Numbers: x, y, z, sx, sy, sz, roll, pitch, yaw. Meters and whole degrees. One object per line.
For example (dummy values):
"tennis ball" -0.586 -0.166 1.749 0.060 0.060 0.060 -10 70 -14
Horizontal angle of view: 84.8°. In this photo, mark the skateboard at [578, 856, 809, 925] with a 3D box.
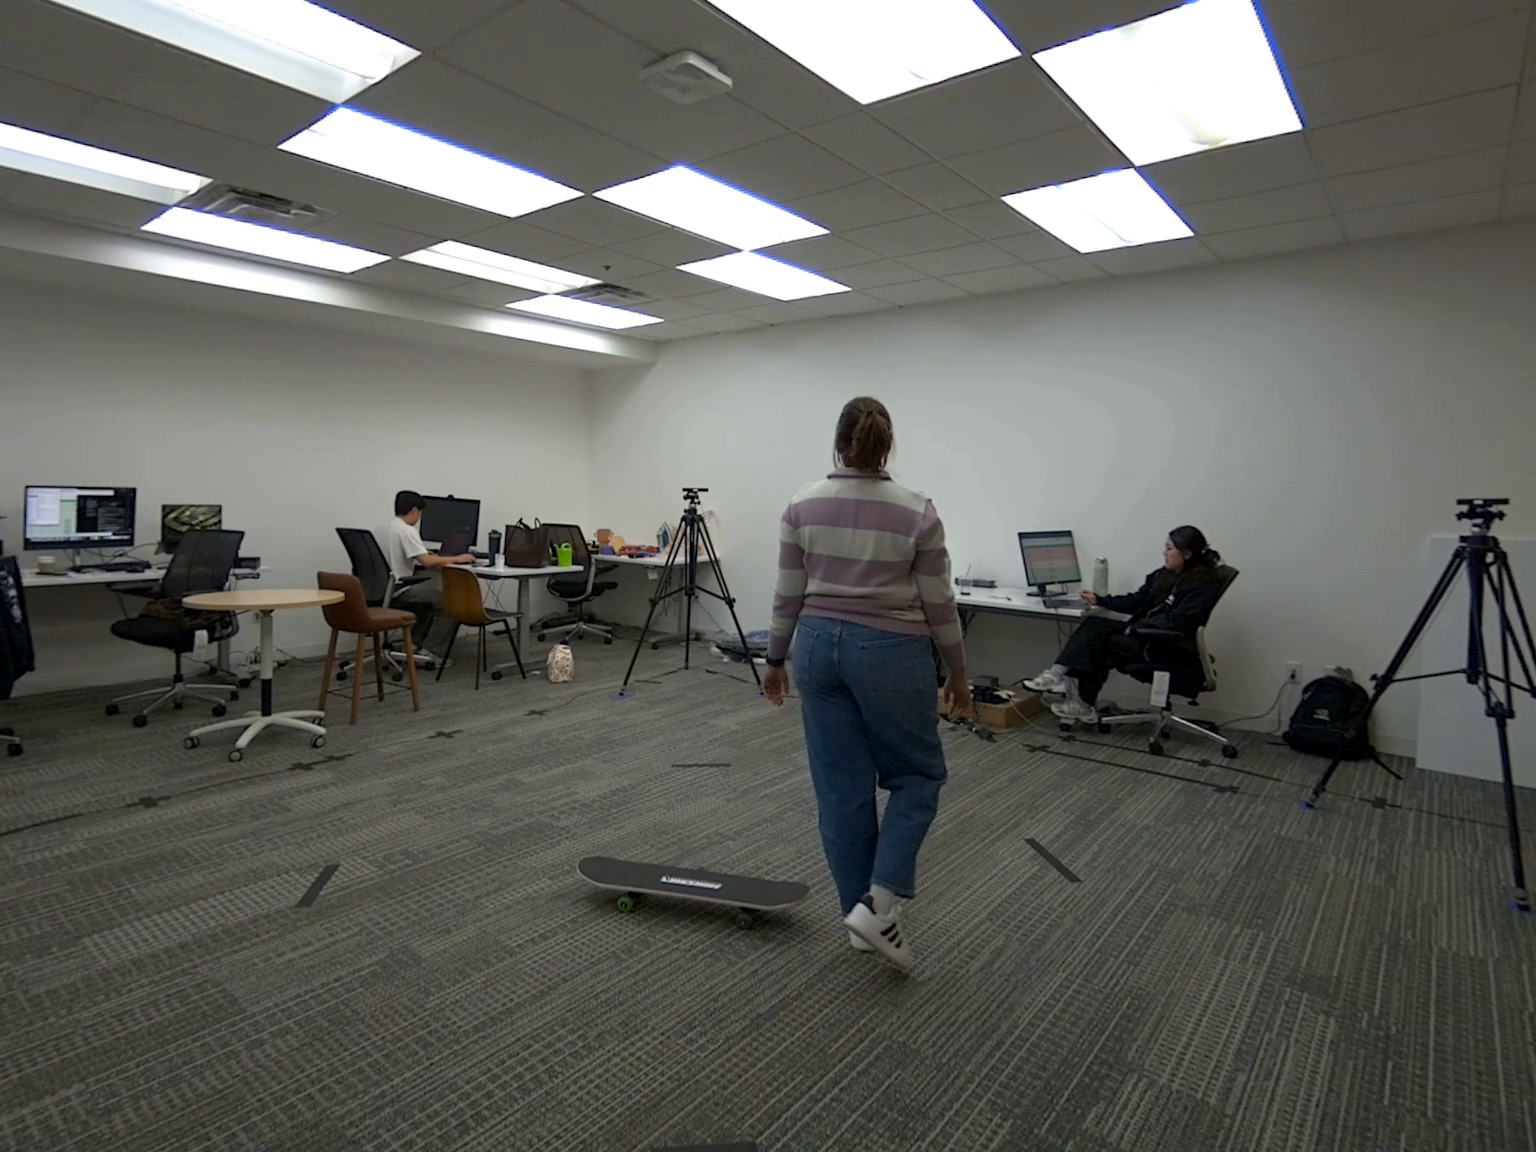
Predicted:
"skateboard" -0.265 1.038 2.809 0.796 0.110 0.191 2 4 13
